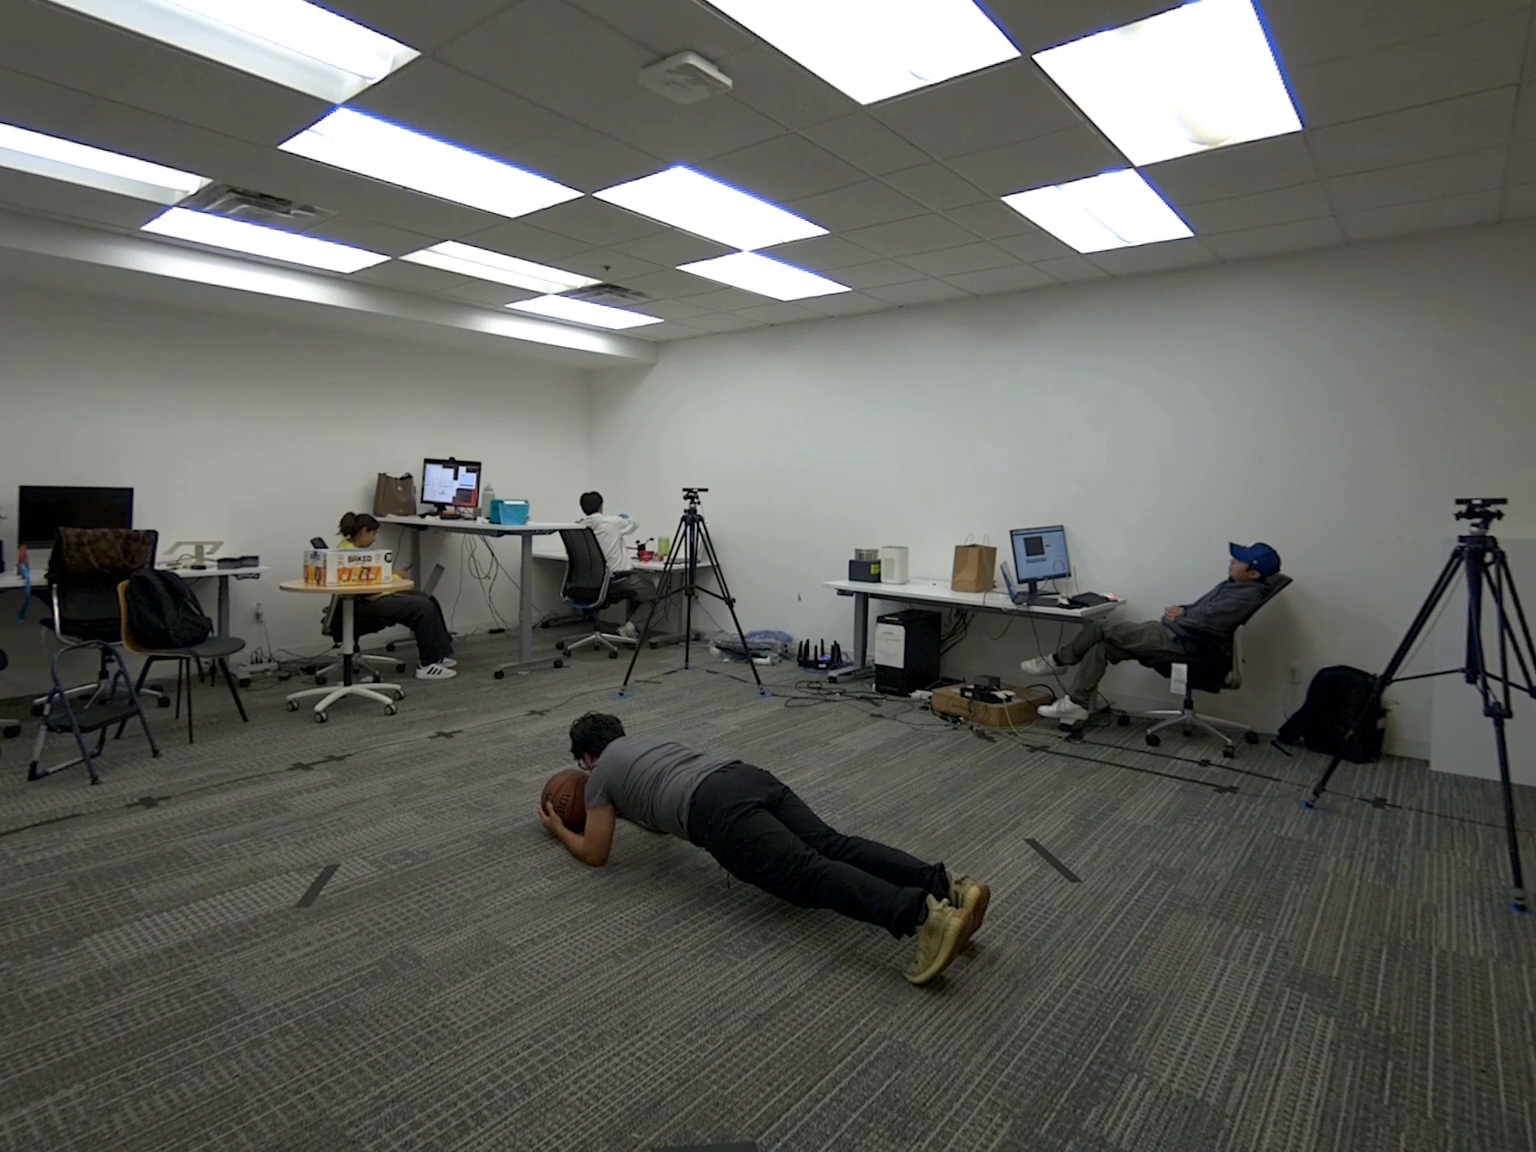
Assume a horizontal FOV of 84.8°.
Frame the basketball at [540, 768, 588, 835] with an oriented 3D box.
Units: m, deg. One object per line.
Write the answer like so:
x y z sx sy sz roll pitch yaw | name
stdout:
-0.813 0.906 3.459 0.235 0.235 0.237 1 4 -2 | basketball
